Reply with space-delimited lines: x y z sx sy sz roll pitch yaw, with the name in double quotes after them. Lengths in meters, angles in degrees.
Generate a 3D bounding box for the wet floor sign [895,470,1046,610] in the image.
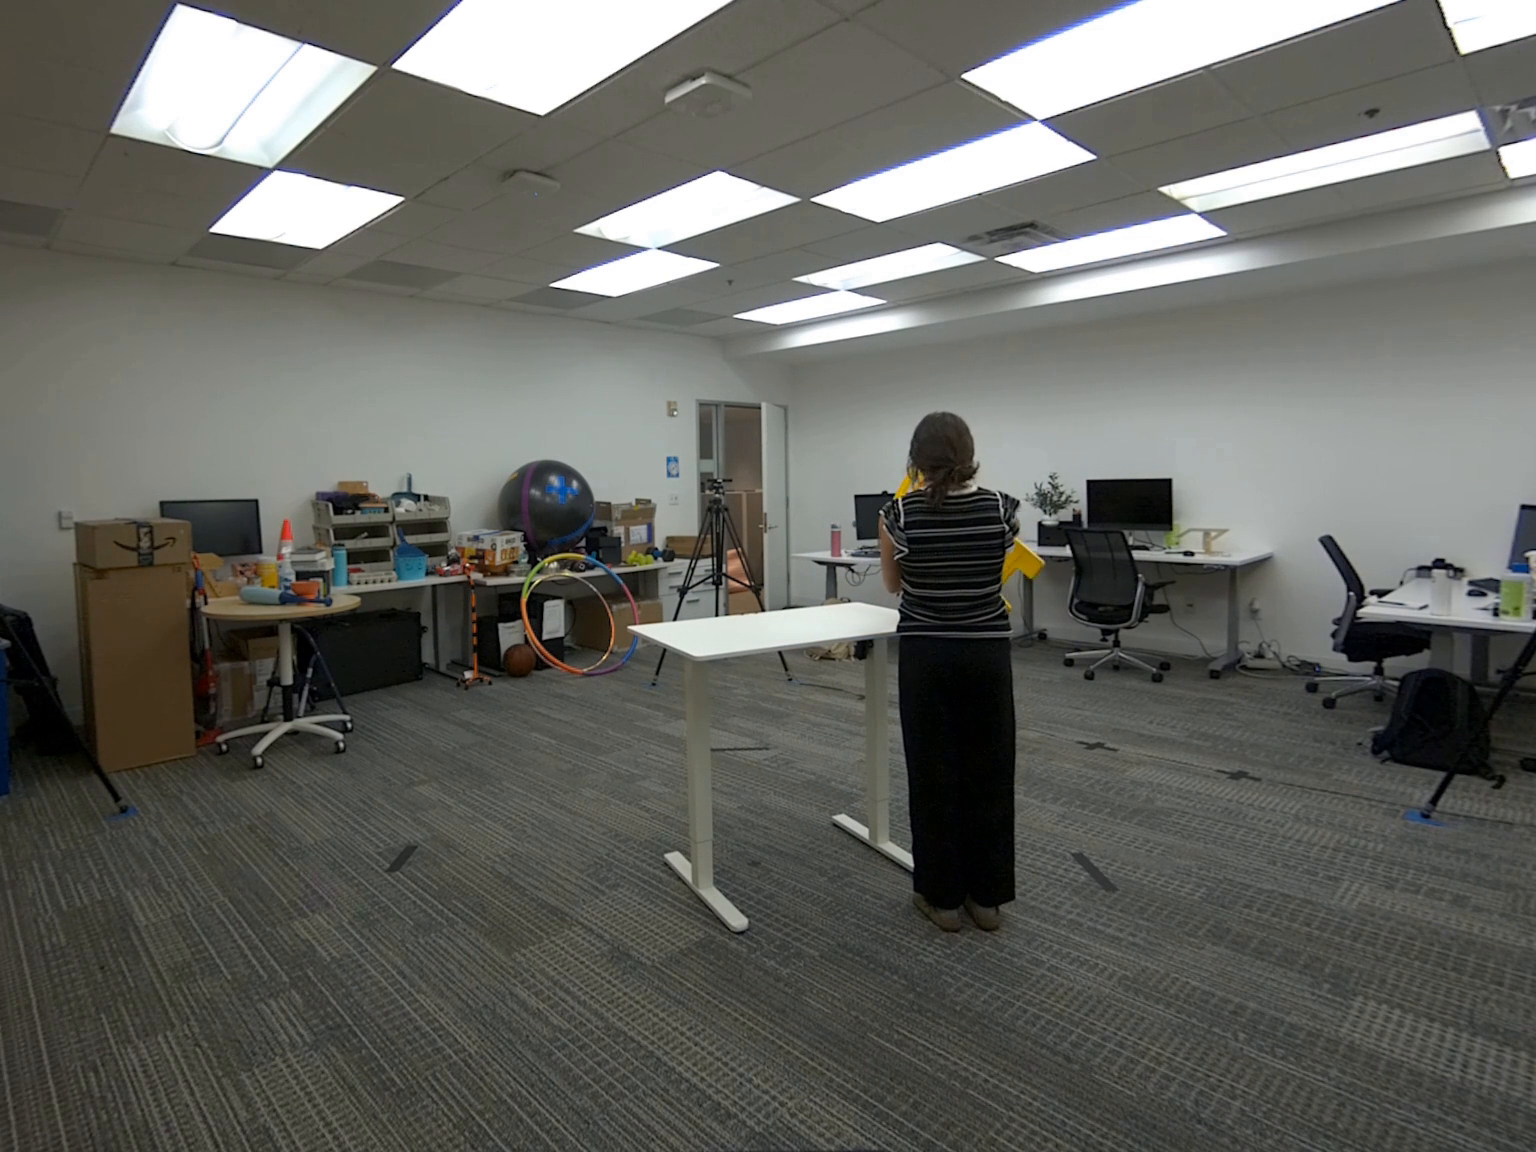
0.654 -0.159 3.070 0.282 0.279 0.671 3 39 -29 "wet floor sign"
